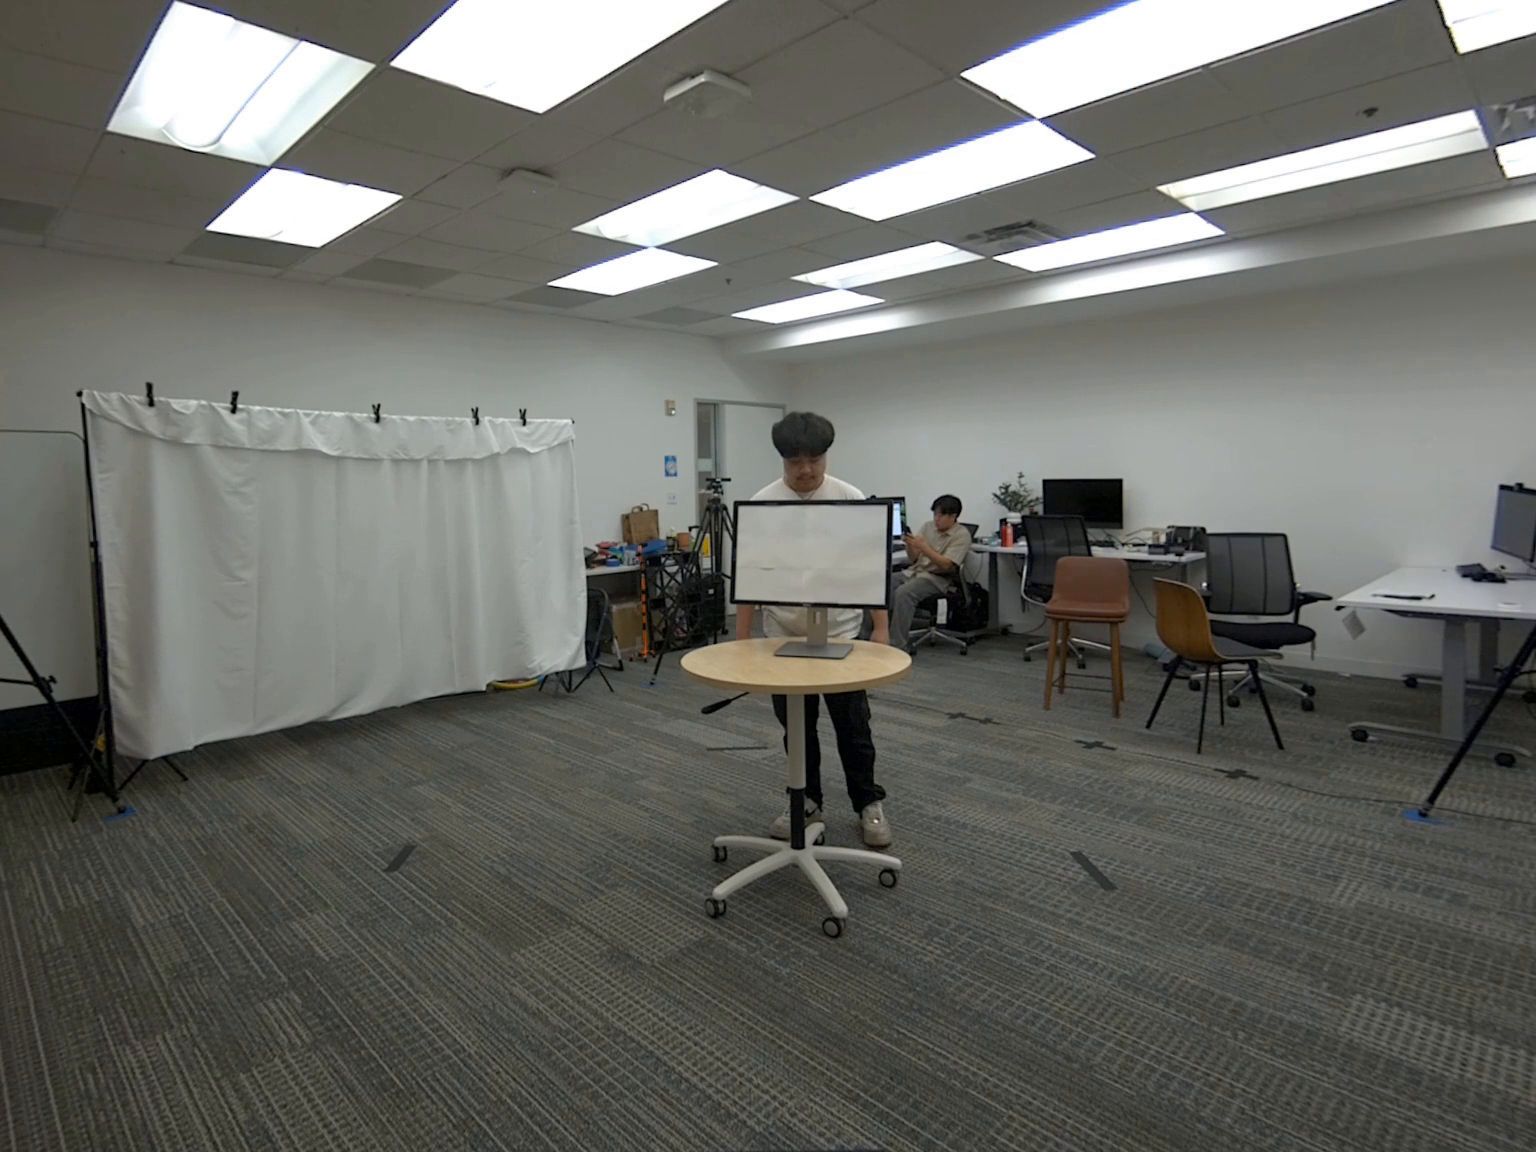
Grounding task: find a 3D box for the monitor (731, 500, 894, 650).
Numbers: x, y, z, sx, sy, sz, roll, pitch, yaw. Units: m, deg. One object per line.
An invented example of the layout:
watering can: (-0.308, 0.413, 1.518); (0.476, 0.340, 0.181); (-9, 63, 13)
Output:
monitor: (0.172, 0.010, 2.964); (0.576, 0.554, 0.206); (1, 0, 21)
